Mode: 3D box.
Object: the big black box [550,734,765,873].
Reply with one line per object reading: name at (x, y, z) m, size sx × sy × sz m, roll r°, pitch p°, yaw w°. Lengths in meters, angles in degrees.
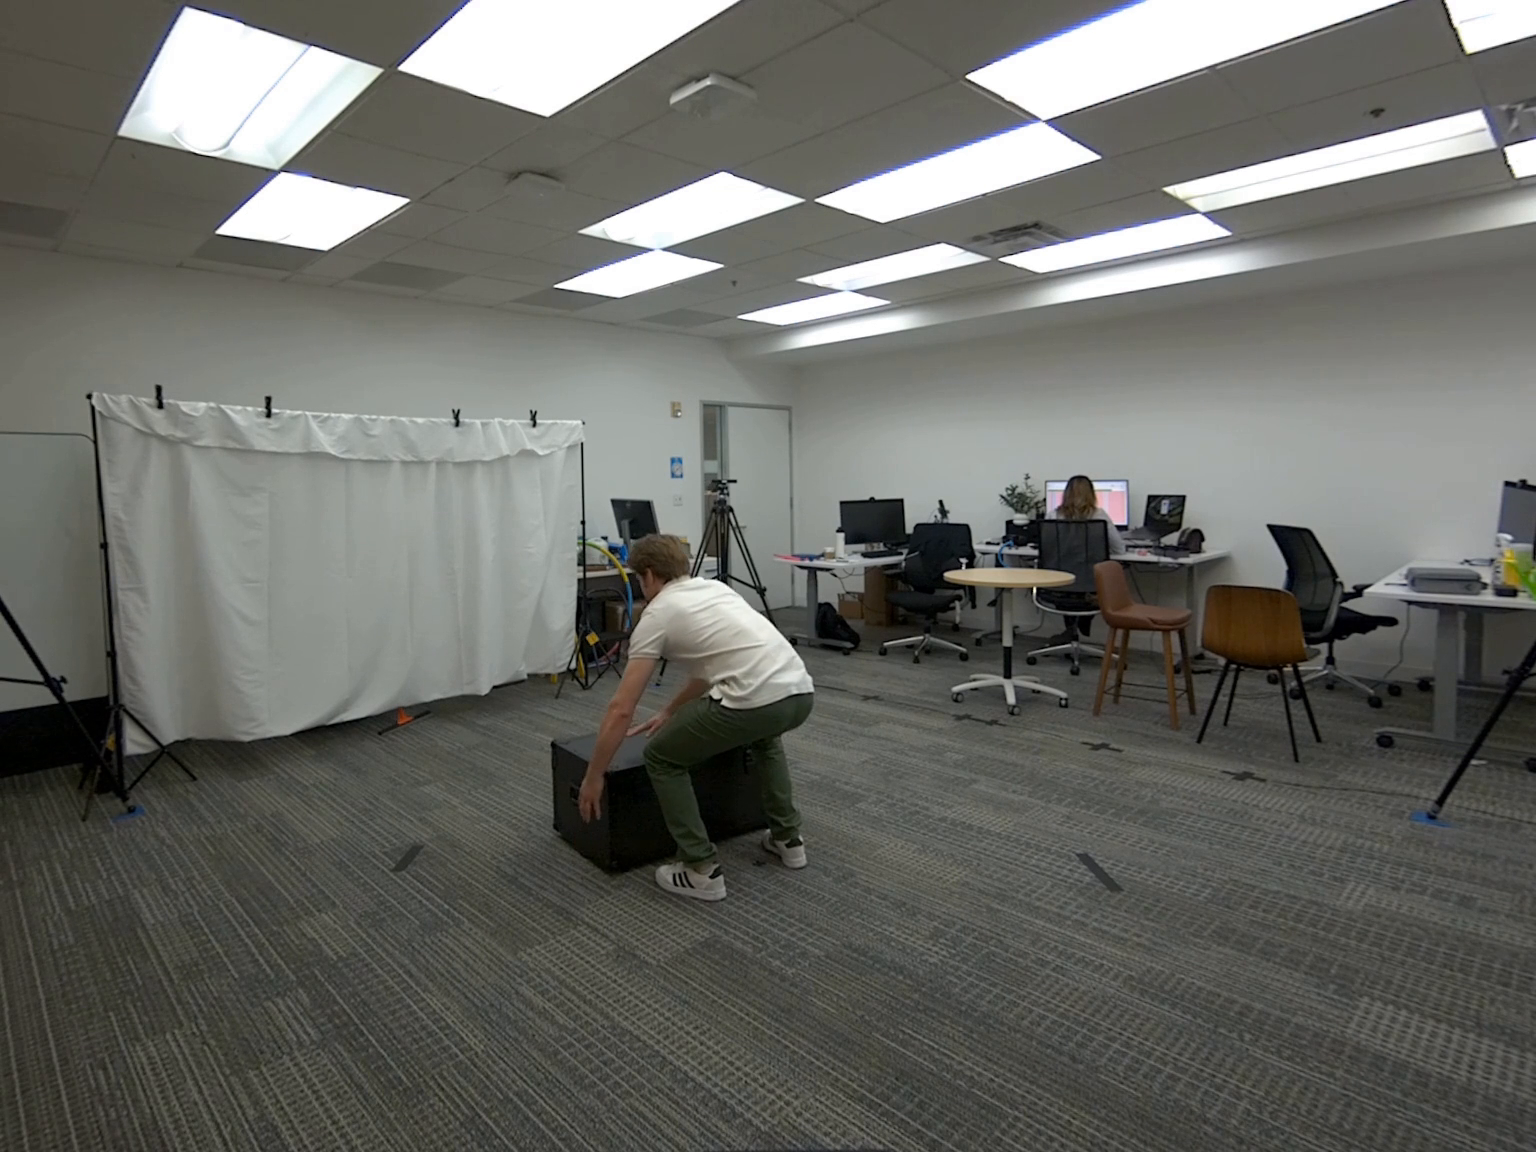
big black box at (-0.369, 0.821, 3.431) m, size 0.846 × 0.384 × 0.538 m, roll -5°, pitch 5°, yaw -36°
